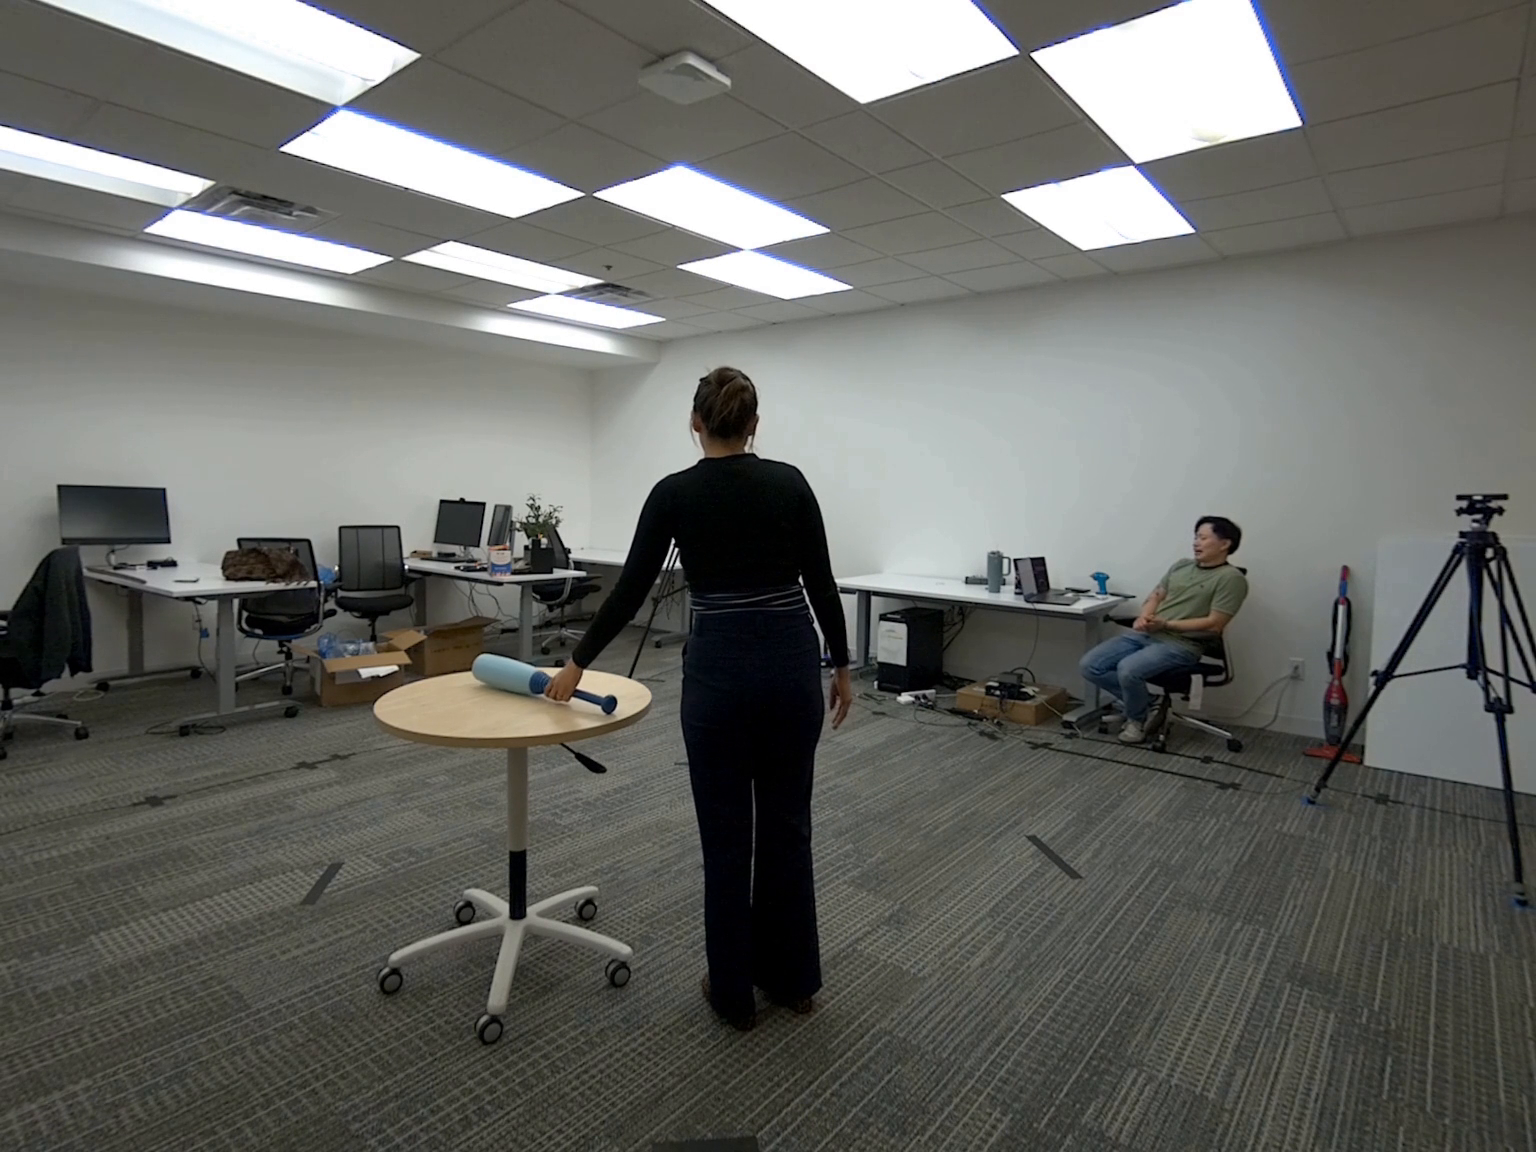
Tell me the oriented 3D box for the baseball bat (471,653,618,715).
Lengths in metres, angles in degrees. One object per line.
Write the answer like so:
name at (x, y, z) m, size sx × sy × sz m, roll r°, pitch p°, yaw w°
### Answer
baseball bat at (-0.647, 0.304, 2.417) m, size 0.561 × 0.088 × 0.086 m, roll 9°, pitch 8°, yaw 34°
